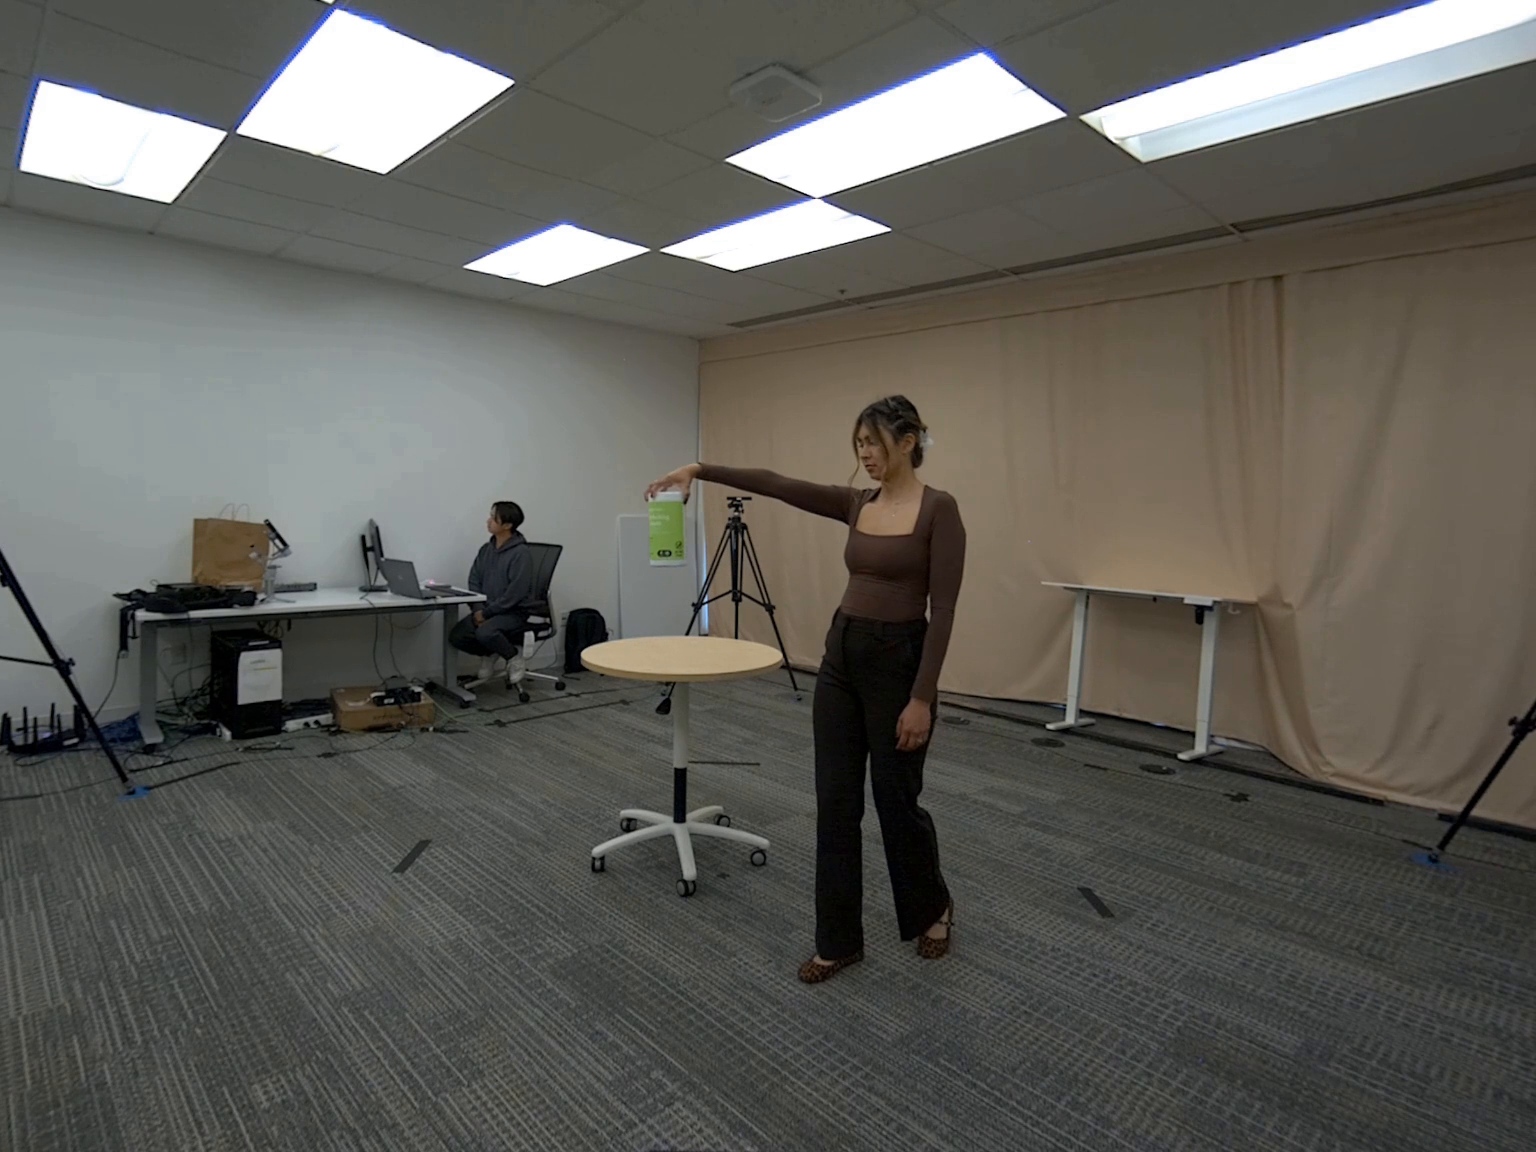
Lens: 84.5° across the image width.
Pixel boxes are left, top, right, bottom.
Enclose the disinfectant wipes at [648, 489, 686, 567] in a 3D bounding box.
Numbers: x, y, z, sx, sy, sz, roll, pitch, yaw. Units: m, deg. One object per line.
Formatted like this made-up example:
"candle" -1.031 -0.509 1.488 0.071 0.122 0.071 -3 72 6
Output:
"disinfectant wipes" -0.290 -0.135 2.453 0.118 0.217 0.118 -2 0 -1
